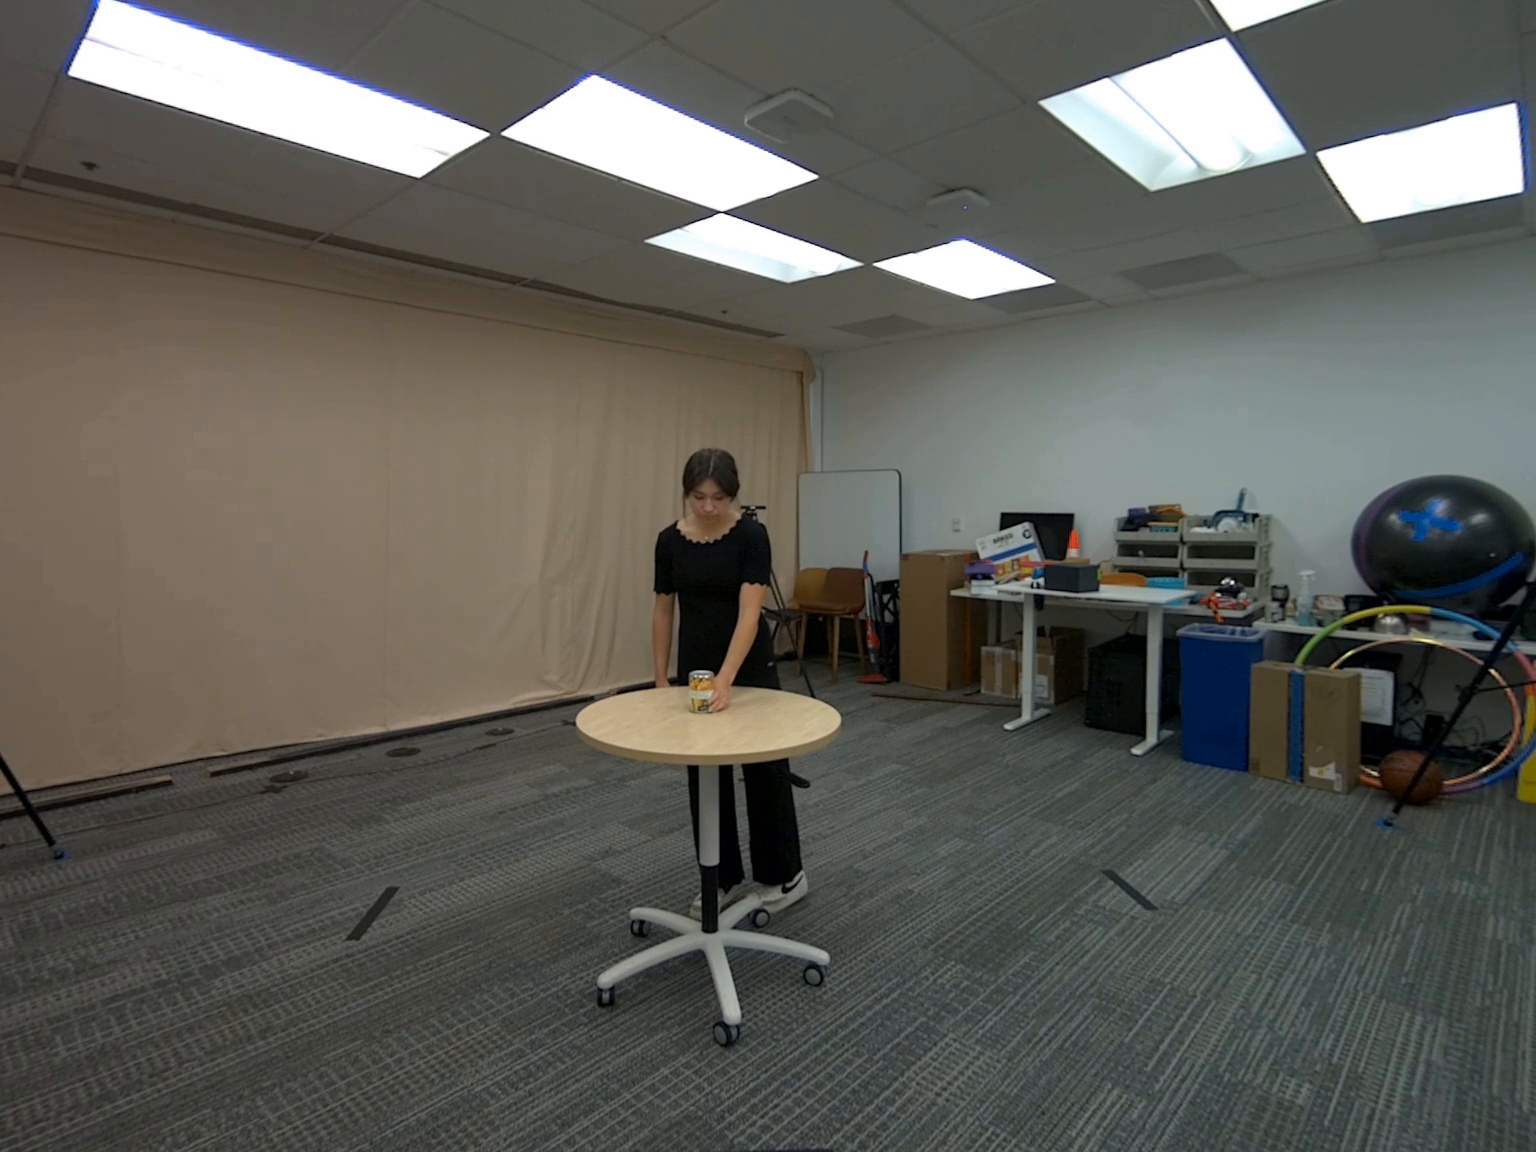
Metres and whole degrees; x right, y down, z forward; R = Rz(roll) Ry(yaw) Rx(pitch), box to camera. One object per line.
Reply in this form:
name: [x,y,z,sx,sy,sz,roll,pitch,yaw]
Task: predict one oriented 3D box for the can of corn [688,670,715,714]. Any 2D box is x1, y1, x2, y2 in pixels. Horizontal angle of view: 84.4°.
can of corn: [-0.196,0.343,2.510,0.074,0.111,0.074,-1,4,-2]
